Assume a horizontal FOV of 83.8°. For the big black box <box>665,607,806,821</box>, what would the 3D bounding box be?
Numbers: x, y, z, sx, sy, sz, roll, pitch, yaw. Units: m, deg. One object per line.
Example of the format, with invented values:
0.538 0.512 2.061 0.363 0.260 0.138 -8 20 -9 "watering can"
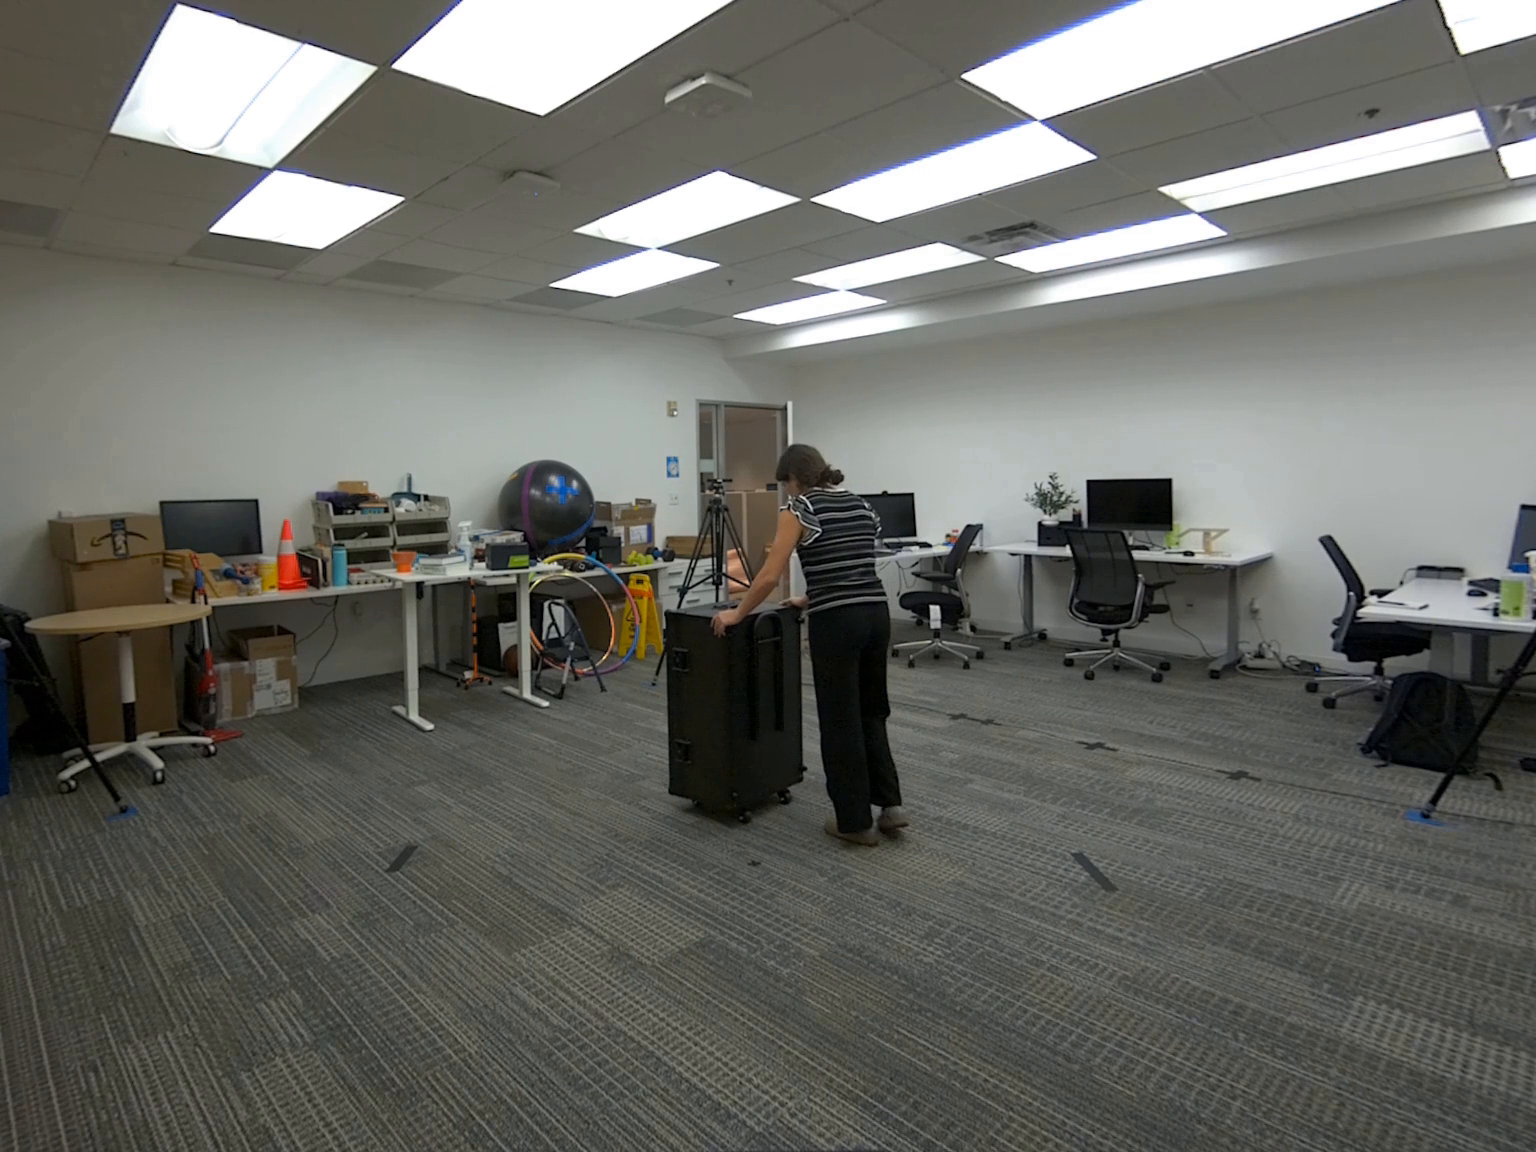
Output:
-0.128 0.559 3.661 0.408 0.858 0.508 4 6 40 "big black box"
